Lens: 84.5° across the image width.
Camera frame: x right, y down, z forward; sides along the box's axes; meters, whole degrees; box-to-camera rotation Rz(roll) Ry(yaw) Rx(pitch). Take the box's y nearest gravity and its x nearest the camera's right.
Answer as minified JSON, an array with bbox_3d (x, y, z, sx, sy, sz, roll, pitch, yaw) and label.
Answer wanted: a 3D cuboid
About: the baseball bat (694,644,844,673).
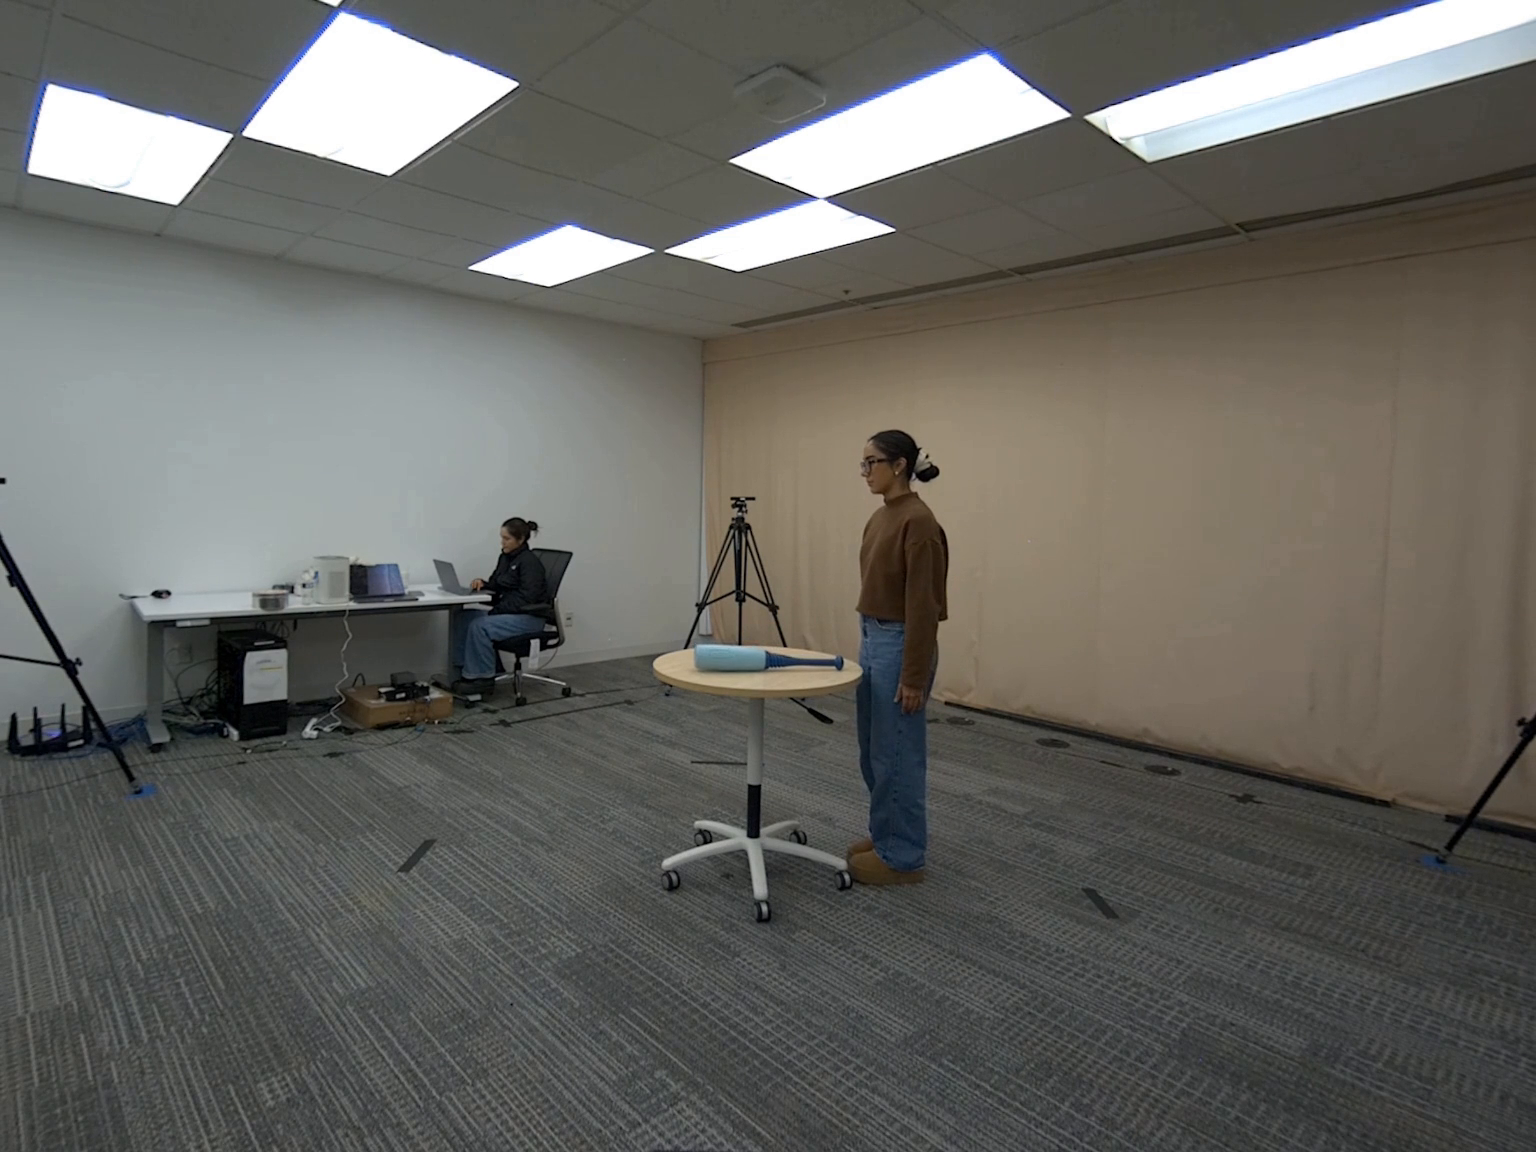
[{"bbox_3d":[0.003,0.304,2.997,0.539,0.089,0.090,4,4,-9],"label":"baseball bat"}]
